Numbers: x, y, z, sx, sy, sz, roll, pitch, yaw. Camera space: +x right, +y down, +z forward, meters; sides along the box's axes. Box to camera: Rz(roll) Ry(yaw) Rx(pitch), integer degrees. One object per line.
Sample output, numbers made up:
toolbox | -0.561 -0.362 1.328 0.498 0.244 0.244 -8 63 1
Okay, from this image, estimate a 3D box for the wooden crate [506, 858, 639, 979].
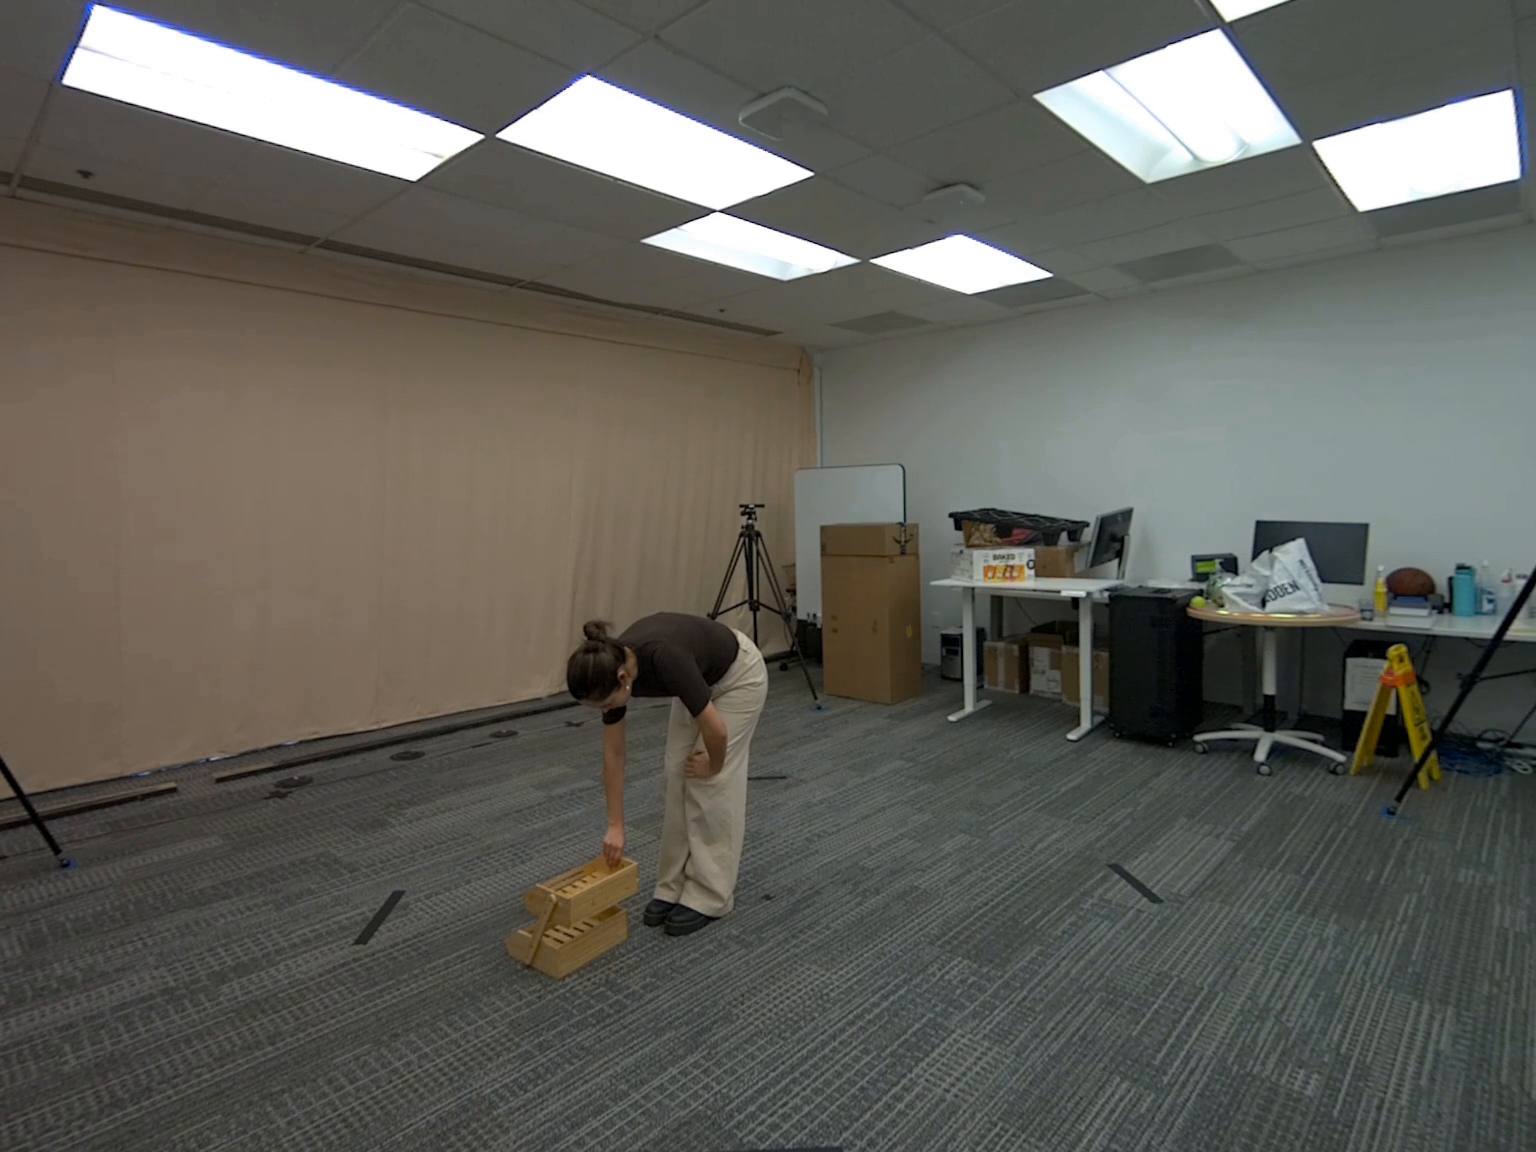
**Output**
wooden crate | -0.617 1.047 2.657 0.312 0.272 0.315 3 5 36
